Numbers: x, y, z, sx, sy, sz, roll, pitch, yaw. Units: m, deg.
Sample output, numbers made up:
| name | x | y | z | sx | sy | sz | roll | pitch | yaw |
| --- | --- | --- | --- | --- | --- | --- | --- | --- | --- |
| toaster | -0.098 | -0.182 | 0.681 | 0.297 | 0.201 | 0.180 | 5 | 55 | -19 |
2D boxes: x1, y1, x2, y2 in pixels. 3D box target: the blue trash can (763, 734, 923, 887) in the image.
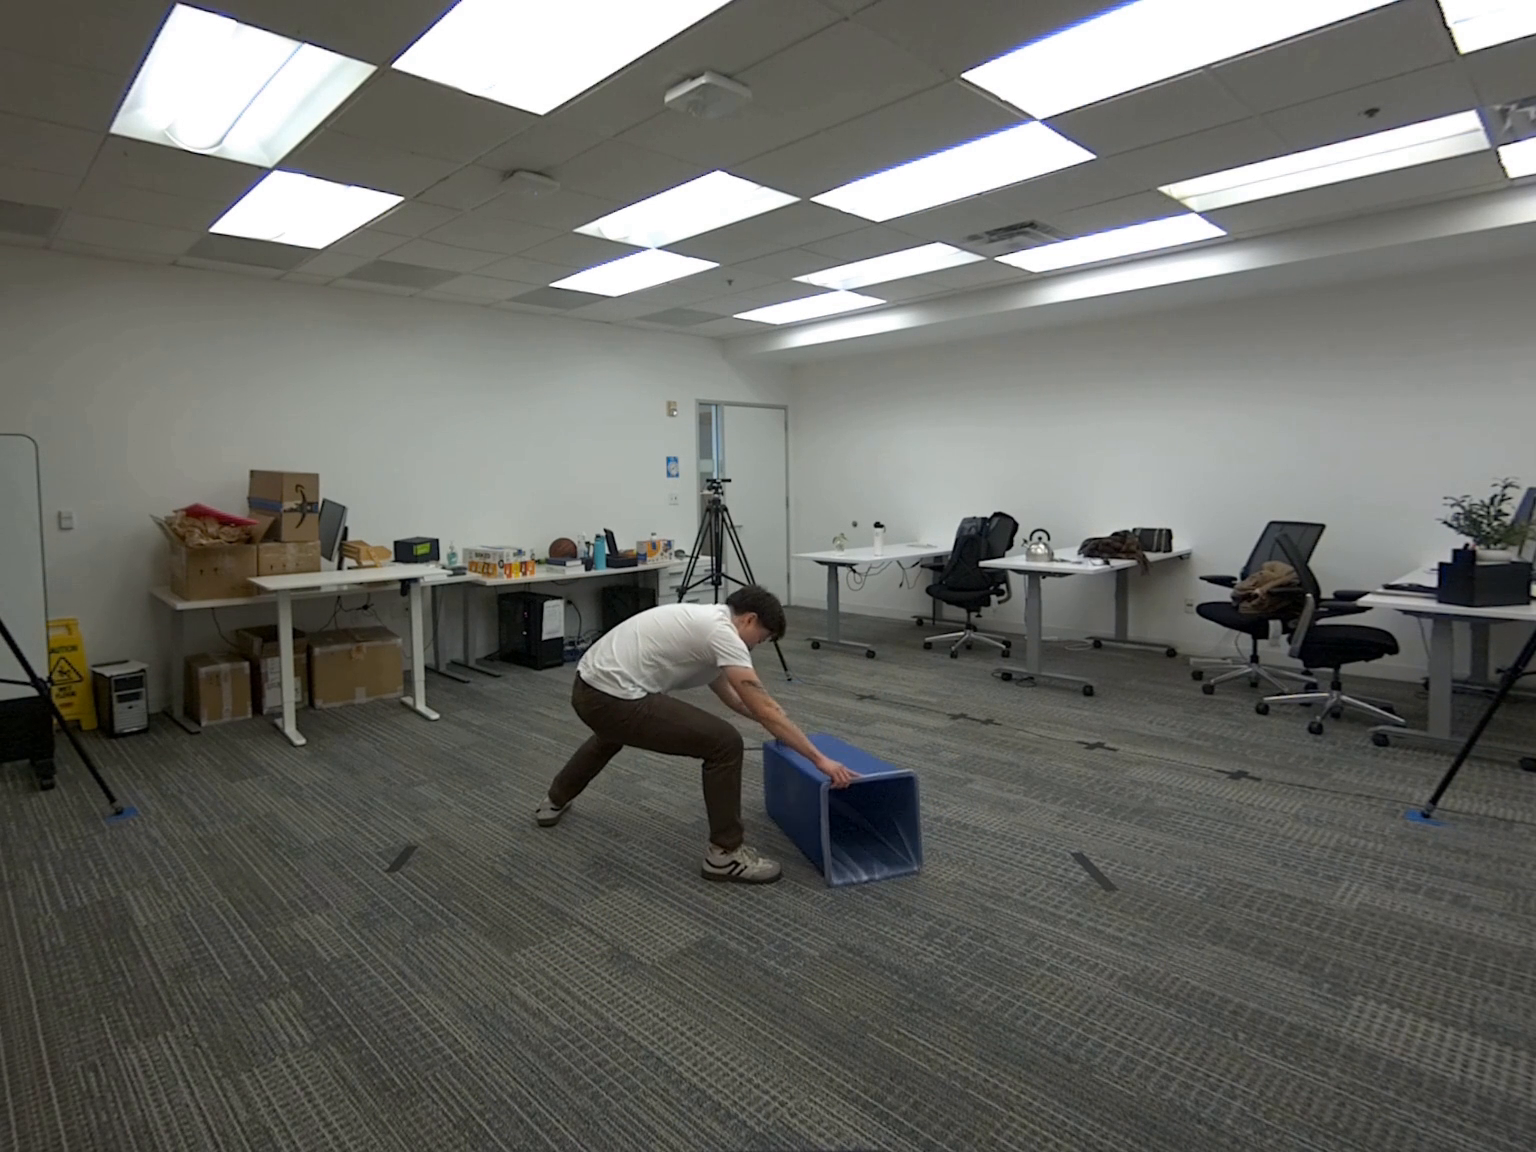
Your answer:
| name | x | y | z | sx | sy | sz | roll | pitch | yaw |
| --- | --- | --- | --- | --- | --- | --- | --- | --- | --- |
| blue trash can | 0.234 | 0.848 | 3.284 | 0.368 | 0.377 | 0.727 | -4 | 5 | -19 |
